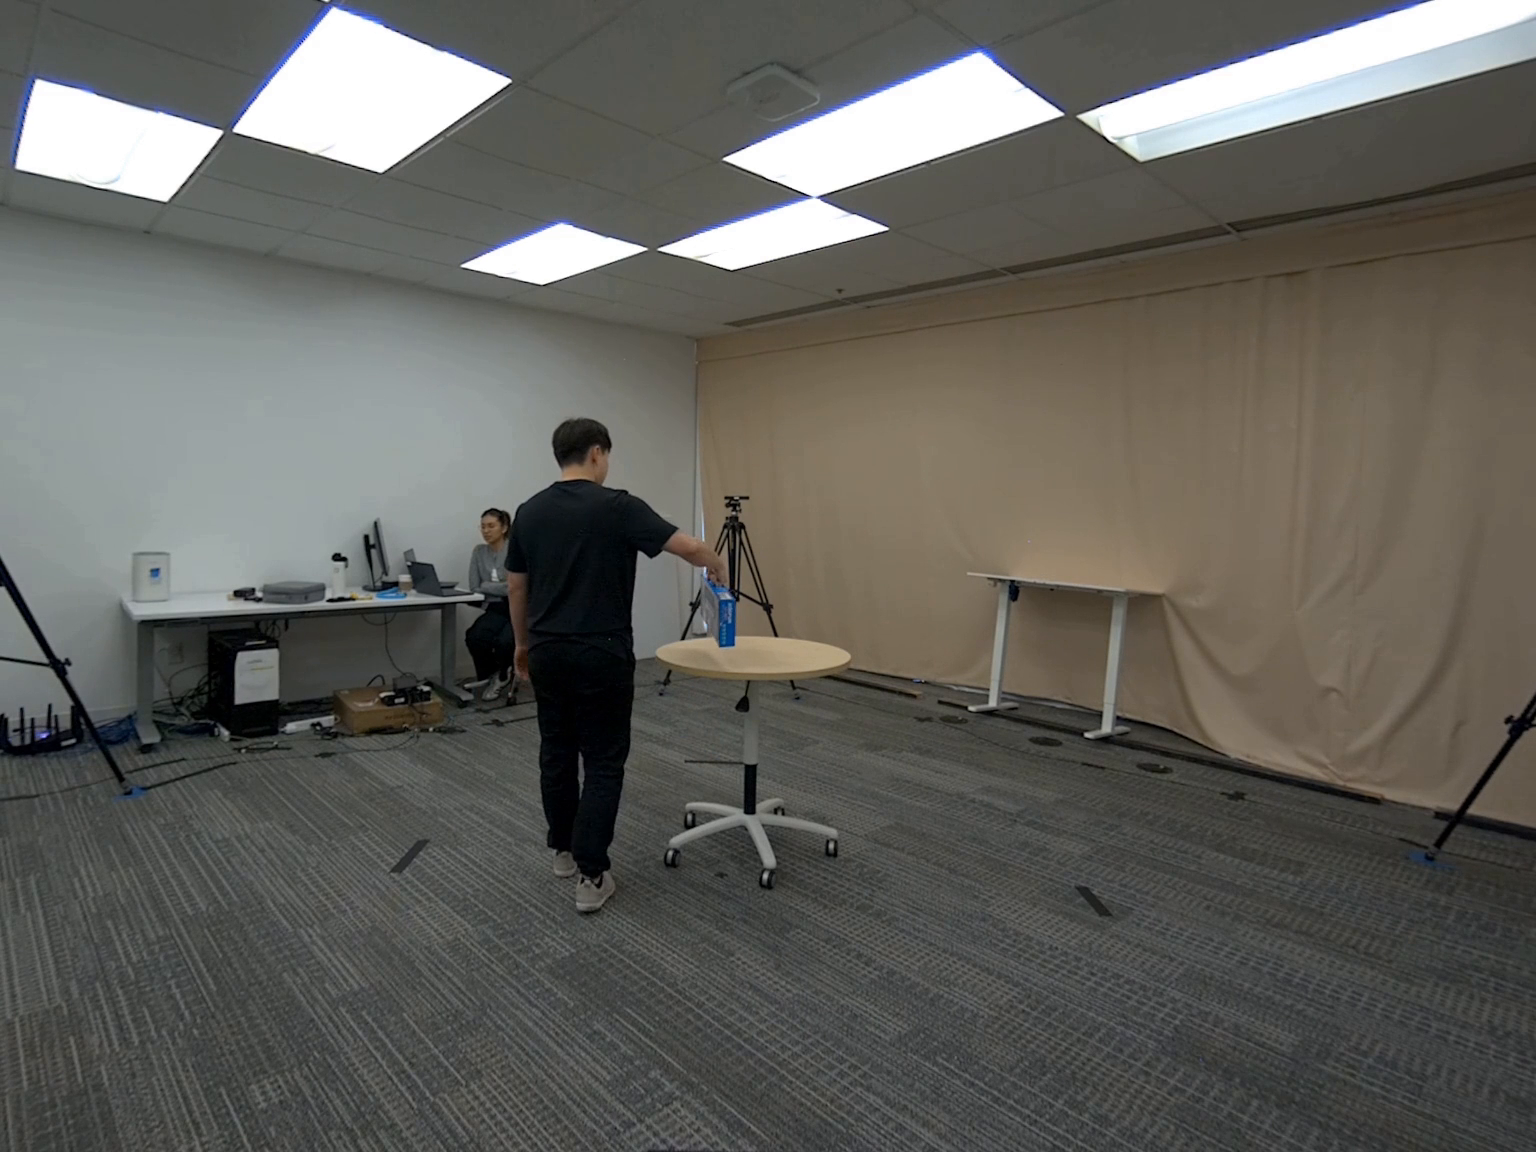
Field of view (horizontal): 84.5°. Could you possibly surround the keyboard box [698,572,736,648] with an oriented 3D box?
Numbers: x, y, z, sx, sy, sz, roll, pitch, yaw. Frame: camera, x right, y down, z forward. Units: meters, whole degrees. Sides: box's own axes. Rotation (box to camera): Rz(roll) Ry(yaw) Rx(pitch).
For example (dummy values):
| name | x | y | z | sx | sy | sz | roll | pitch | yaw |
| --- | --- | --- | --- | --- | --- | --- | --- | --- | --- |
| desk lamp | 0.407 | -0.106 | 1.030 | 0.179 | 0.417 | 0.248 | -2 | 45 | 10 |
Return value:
| name | x | y | z | sx | sy | sz | roll | pitch | yaw |
| --- | --- | --- | --- | --- | --- | --- | --- | --- | --- |
| keyboard box | -0.202 | 0.120 | 3.153 | 0.058 | 0.174 | 0.444 | -3 | 13 | -12 |
